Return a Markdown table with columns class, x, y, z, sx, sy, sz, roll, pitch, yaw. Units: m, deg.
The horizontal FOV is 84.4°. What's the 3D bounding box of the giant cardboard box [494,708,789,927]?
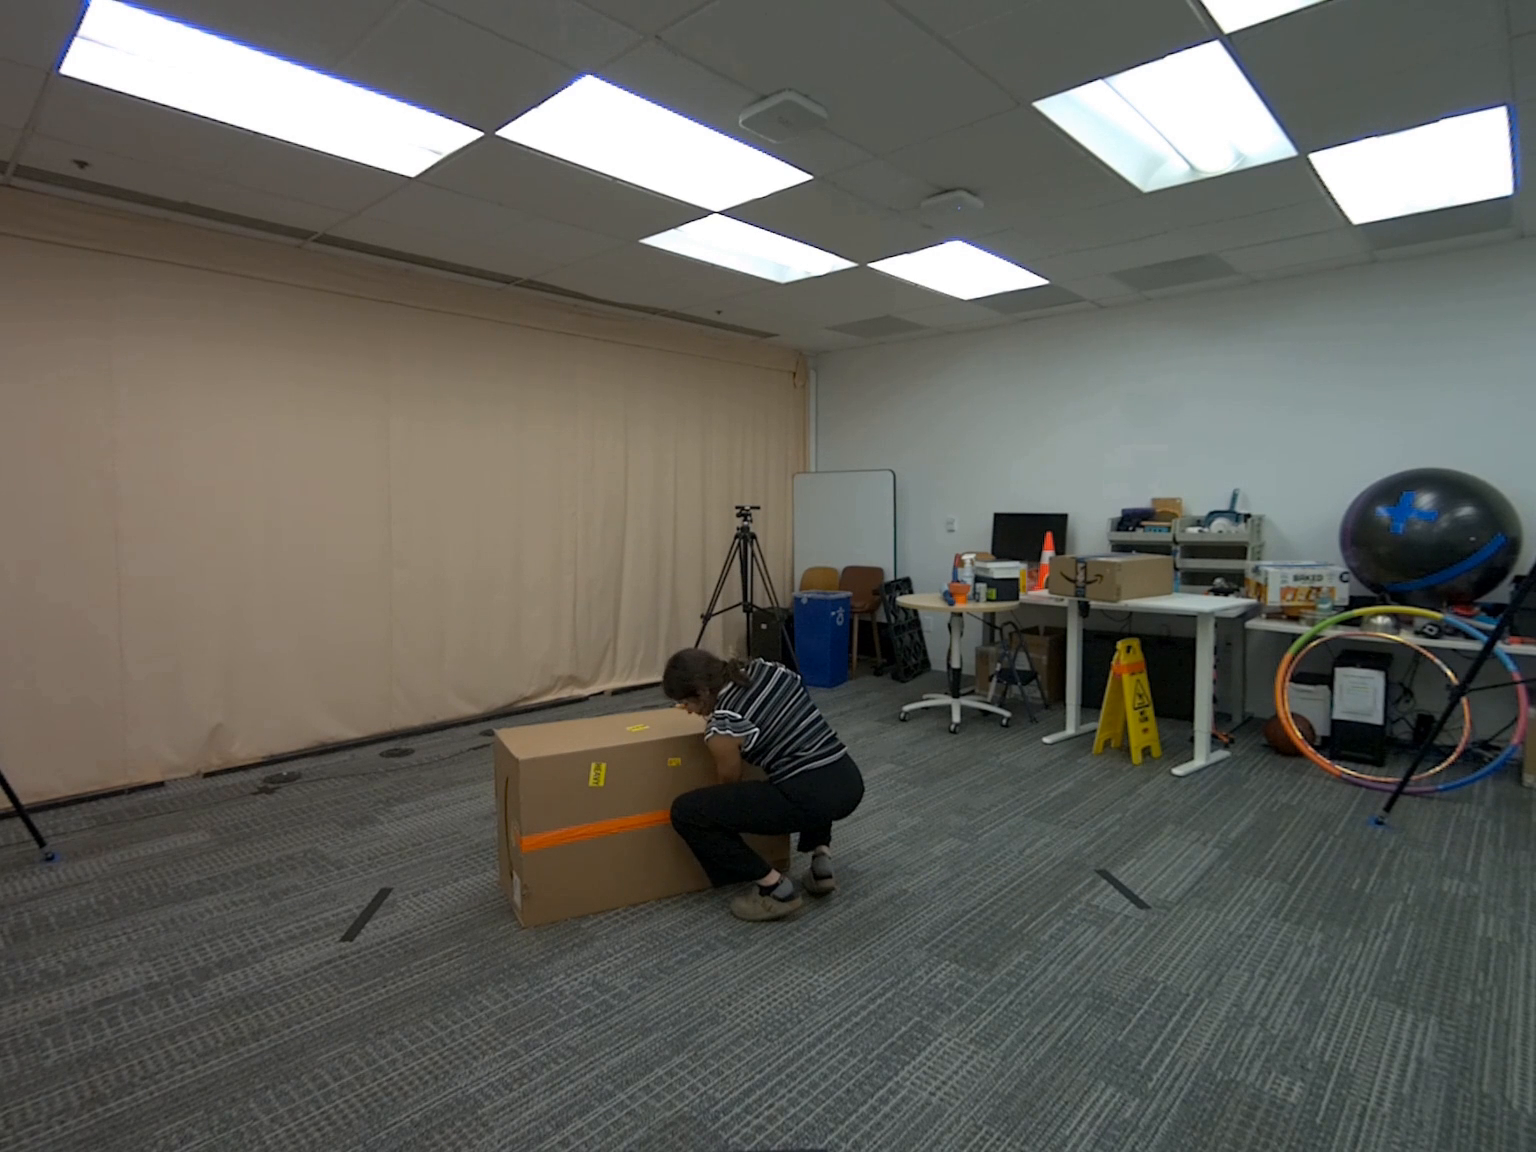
| class | x | y | z | sx | sy | sz | roll | pitch | yaw |
| --- | --- | --- | --- | --- | --- | --- | --- | --- | --- |
| giant cardboard box | -0.469 | 0.842 | 3.171 | 1.001 | 0.576 | 0.437 | -2 | 3 | -25 |
